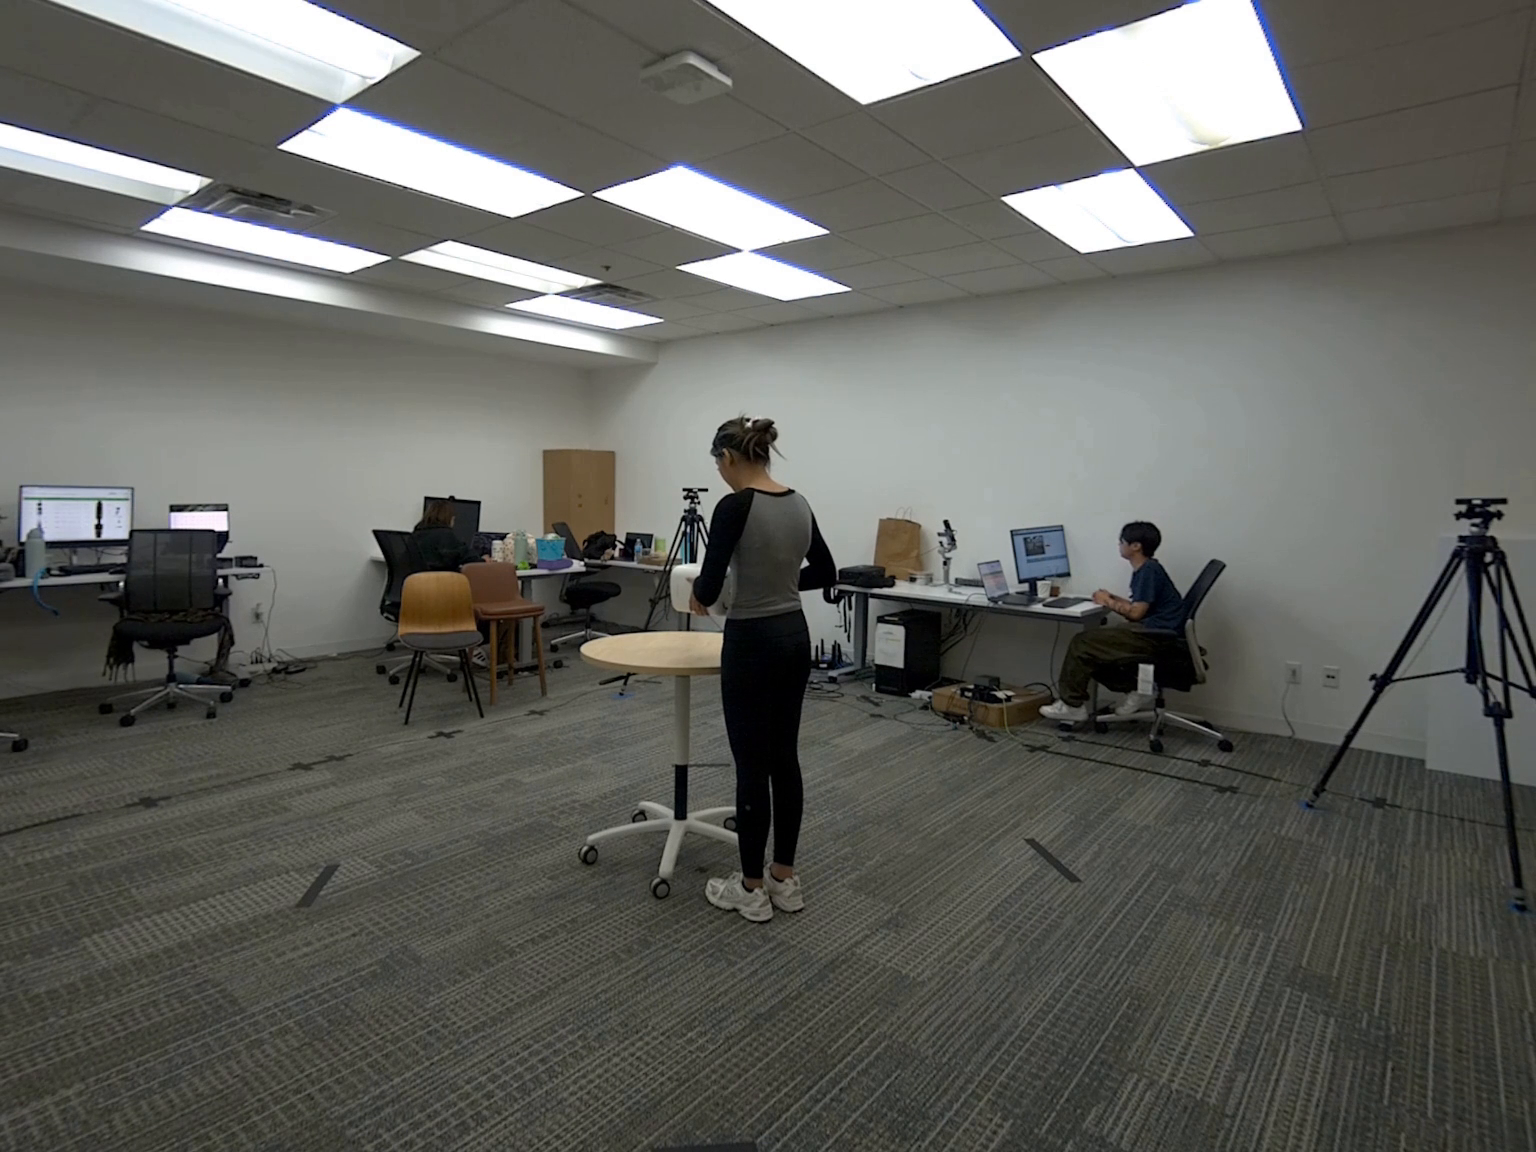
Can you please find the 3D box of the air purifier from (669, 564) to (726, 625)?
[{"bbox_3d":[-0.212,0.045,3.011,0.167,0.170,0.274,-7,8,-38],"label":"air purifier"}]
